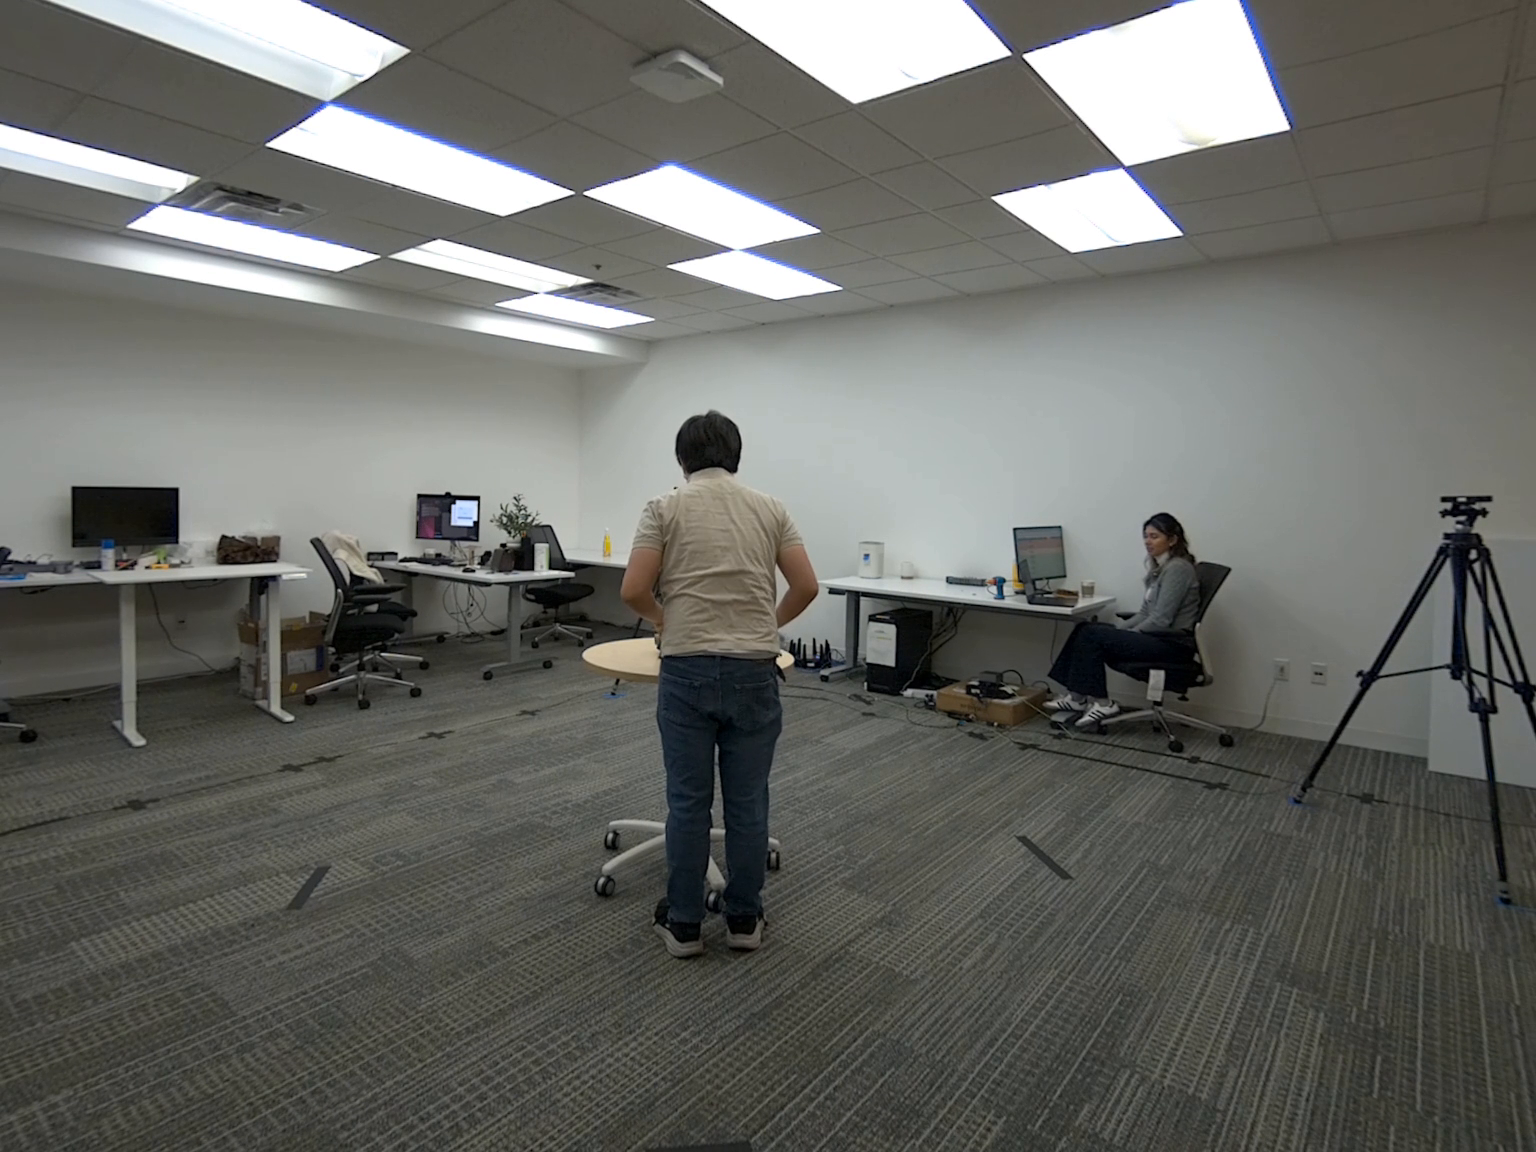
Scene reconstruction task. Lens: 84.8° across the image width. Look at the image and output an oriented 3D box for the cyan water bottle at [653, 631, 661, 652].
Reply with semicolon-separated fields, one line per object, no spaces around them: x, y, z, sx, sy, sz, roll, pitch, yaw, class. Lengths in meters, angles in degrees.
-0.280;0.233;3.117;0.281;0.092;0.093;1;4;-8;cyan water bottle
